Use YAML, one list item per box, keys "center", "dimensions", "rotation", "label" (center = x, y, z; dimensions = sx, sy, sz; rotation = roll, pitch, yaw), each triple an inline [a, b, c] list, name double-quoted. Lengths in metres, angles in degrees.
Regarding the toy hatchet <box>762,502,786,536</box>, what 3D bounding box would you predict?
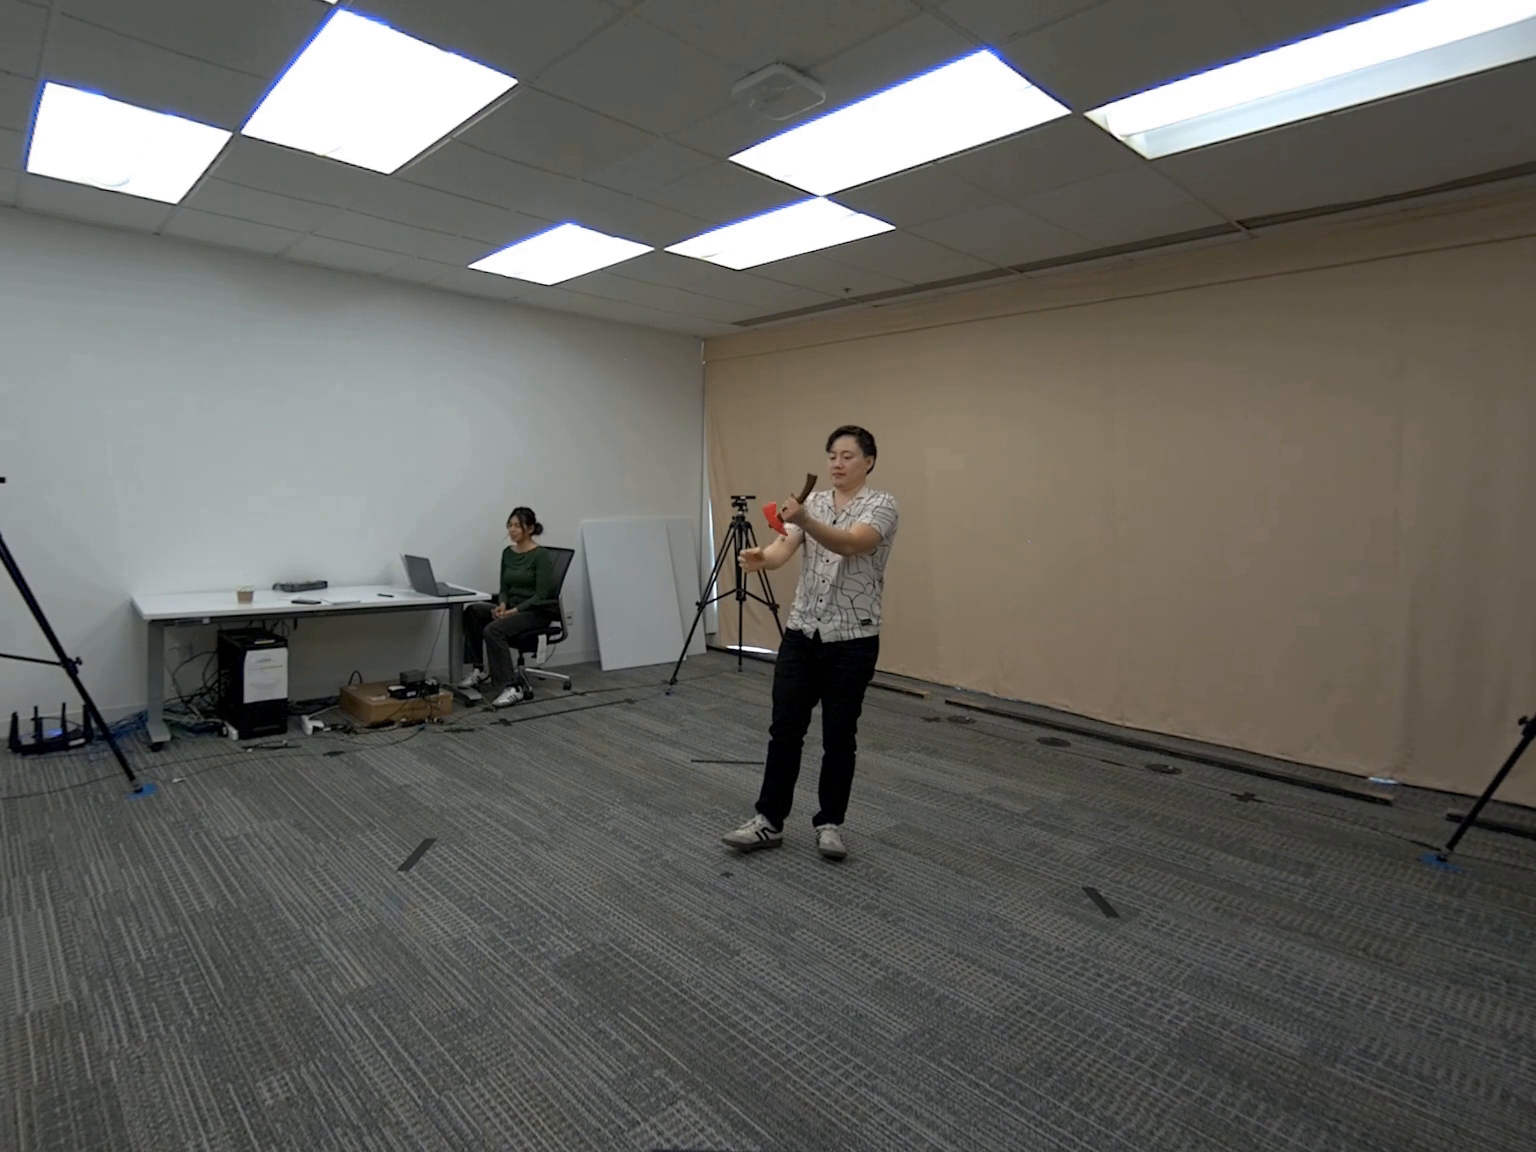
- center: [0.065, -0.268, 2.956]
  dimensions: [0.133, 0.268, 0.029]
  rotation: [35, 31, 16]
  label: "toy hatchet"
